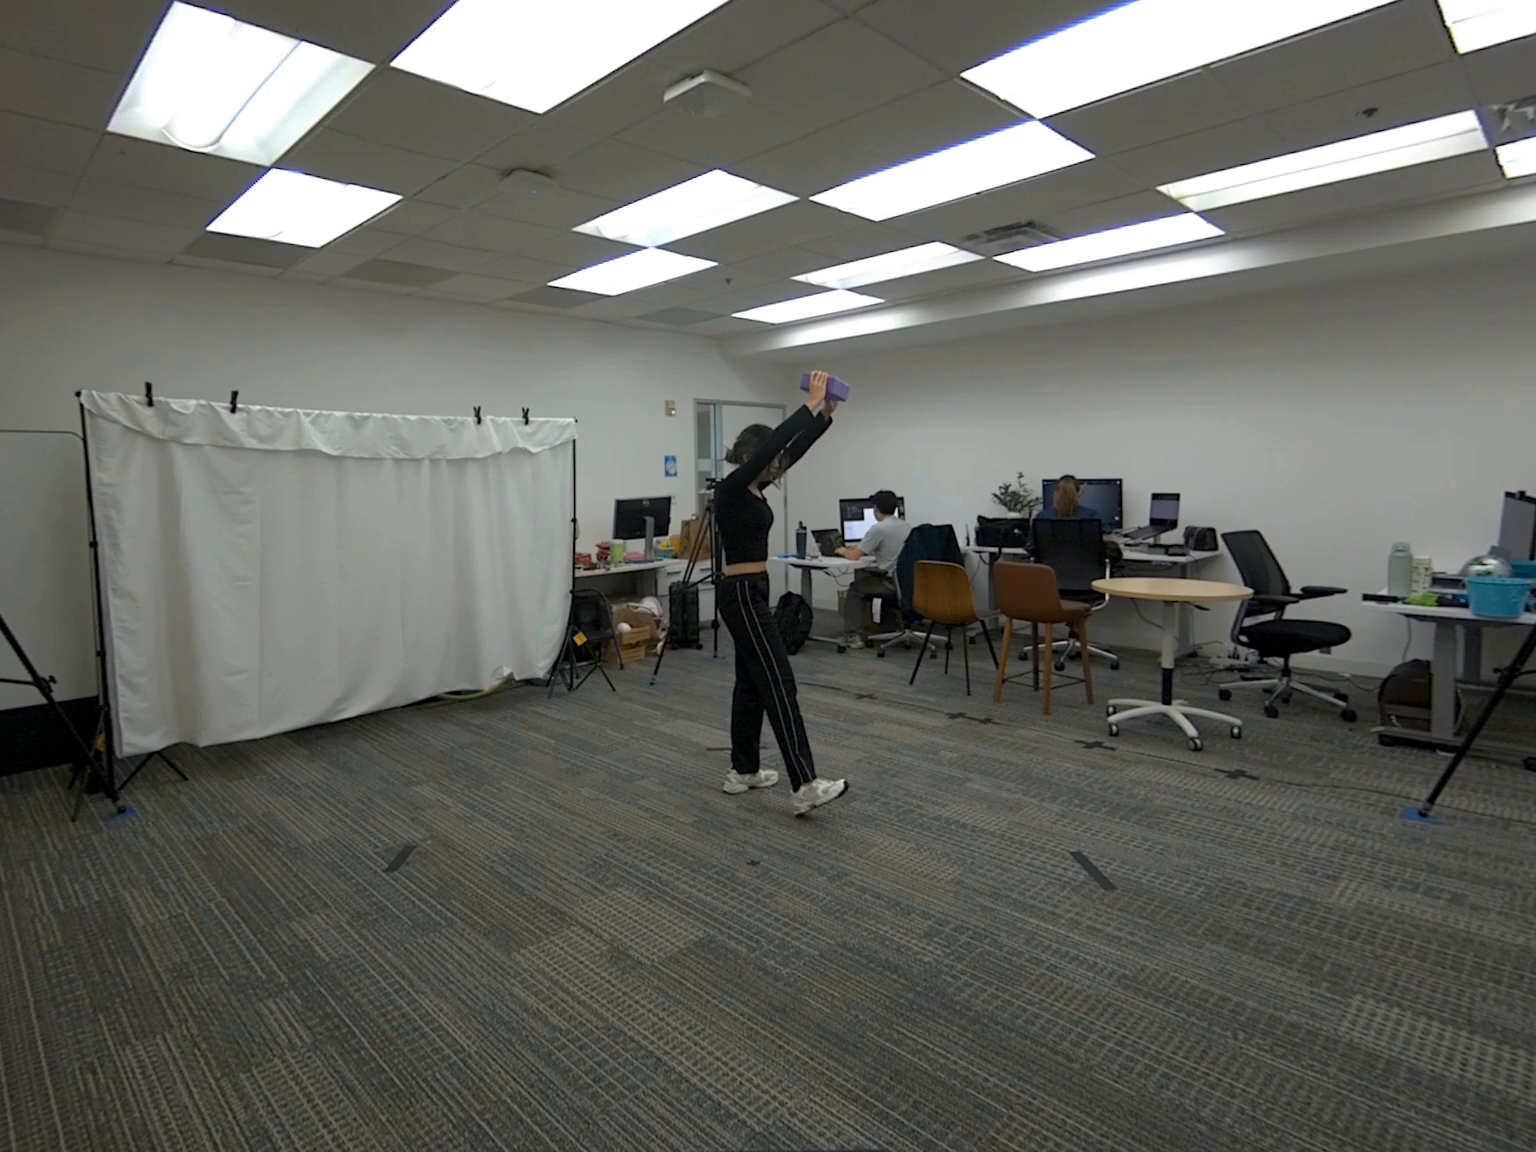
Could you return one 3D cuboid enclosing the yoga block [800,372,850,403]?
[{"bbox_3d":[0.240,-0.809,3.643,0.152,0.076,0.225,14,6,21],"label":"yoga block"}]
